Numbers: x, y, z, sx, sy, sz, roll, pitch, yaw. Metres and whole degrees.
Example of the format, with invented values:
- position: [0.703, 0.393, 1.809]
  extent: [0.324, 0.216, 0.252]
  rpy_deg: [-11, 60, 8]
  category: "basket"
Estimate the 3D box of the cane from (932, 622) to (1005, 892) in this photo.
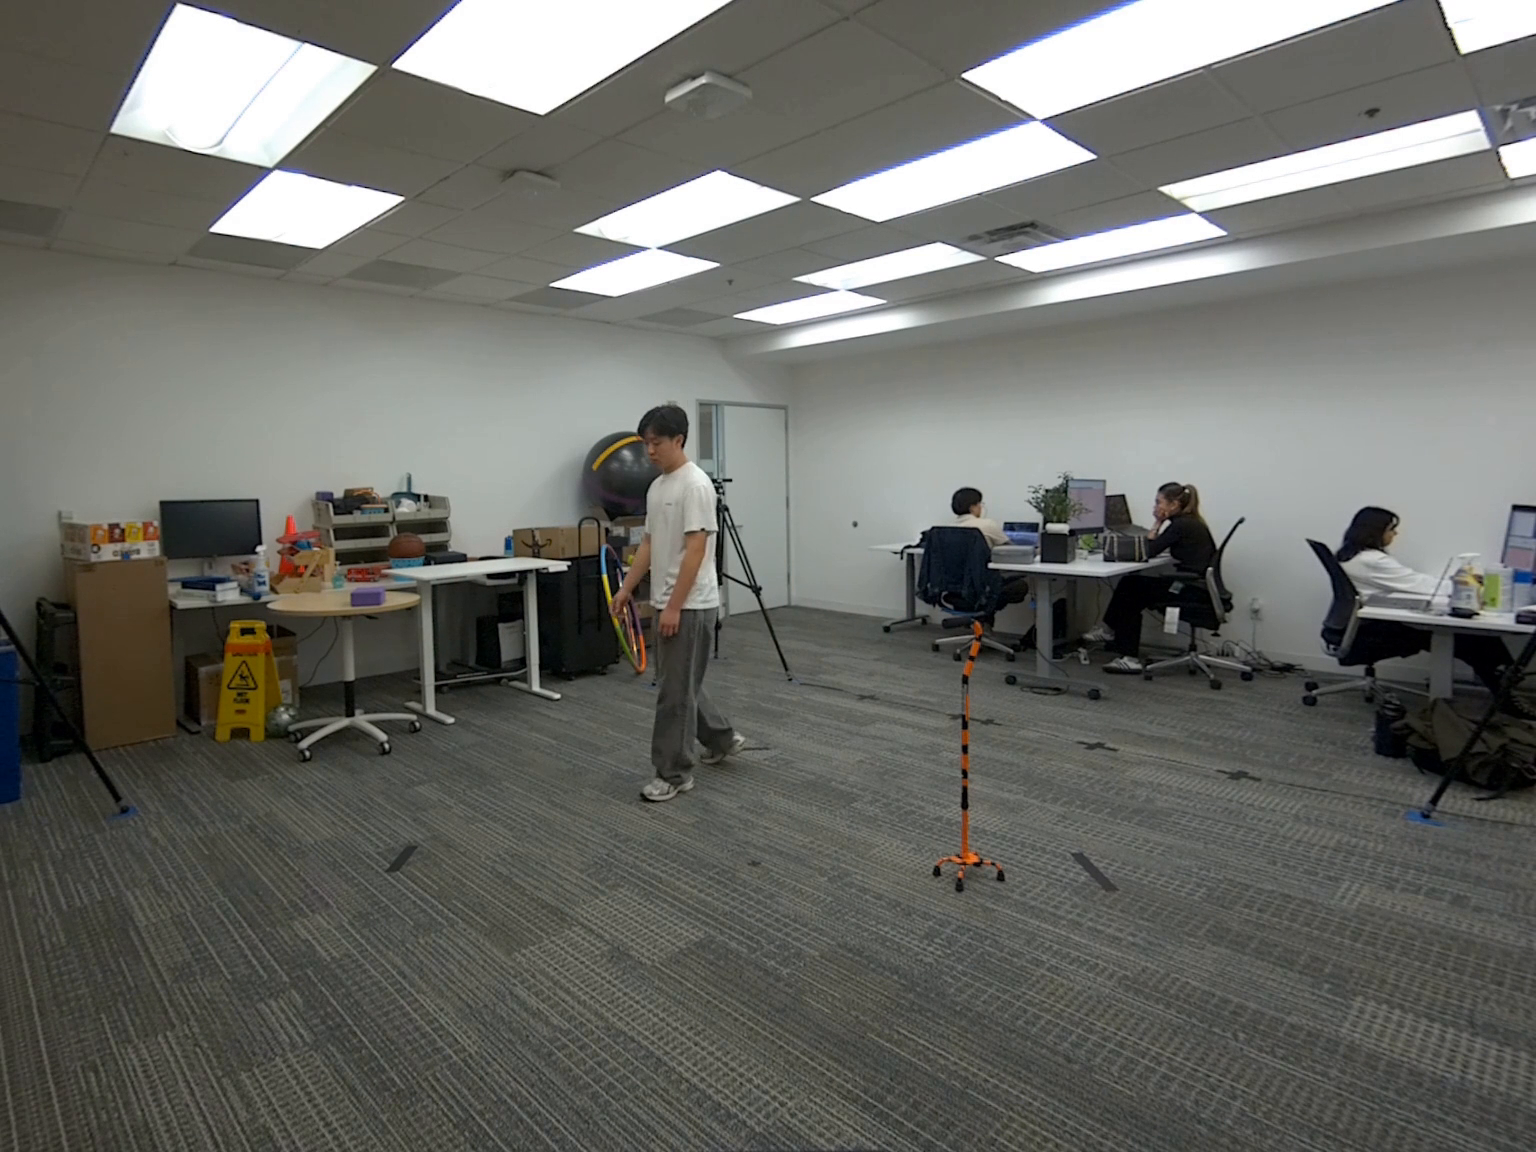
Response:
- position: [0.694, 0.599, 2.945]
  extent: [0.202, 0.905, 0.155]
  rpy_deg: [-2, 4, -26]
  category: "cane"
